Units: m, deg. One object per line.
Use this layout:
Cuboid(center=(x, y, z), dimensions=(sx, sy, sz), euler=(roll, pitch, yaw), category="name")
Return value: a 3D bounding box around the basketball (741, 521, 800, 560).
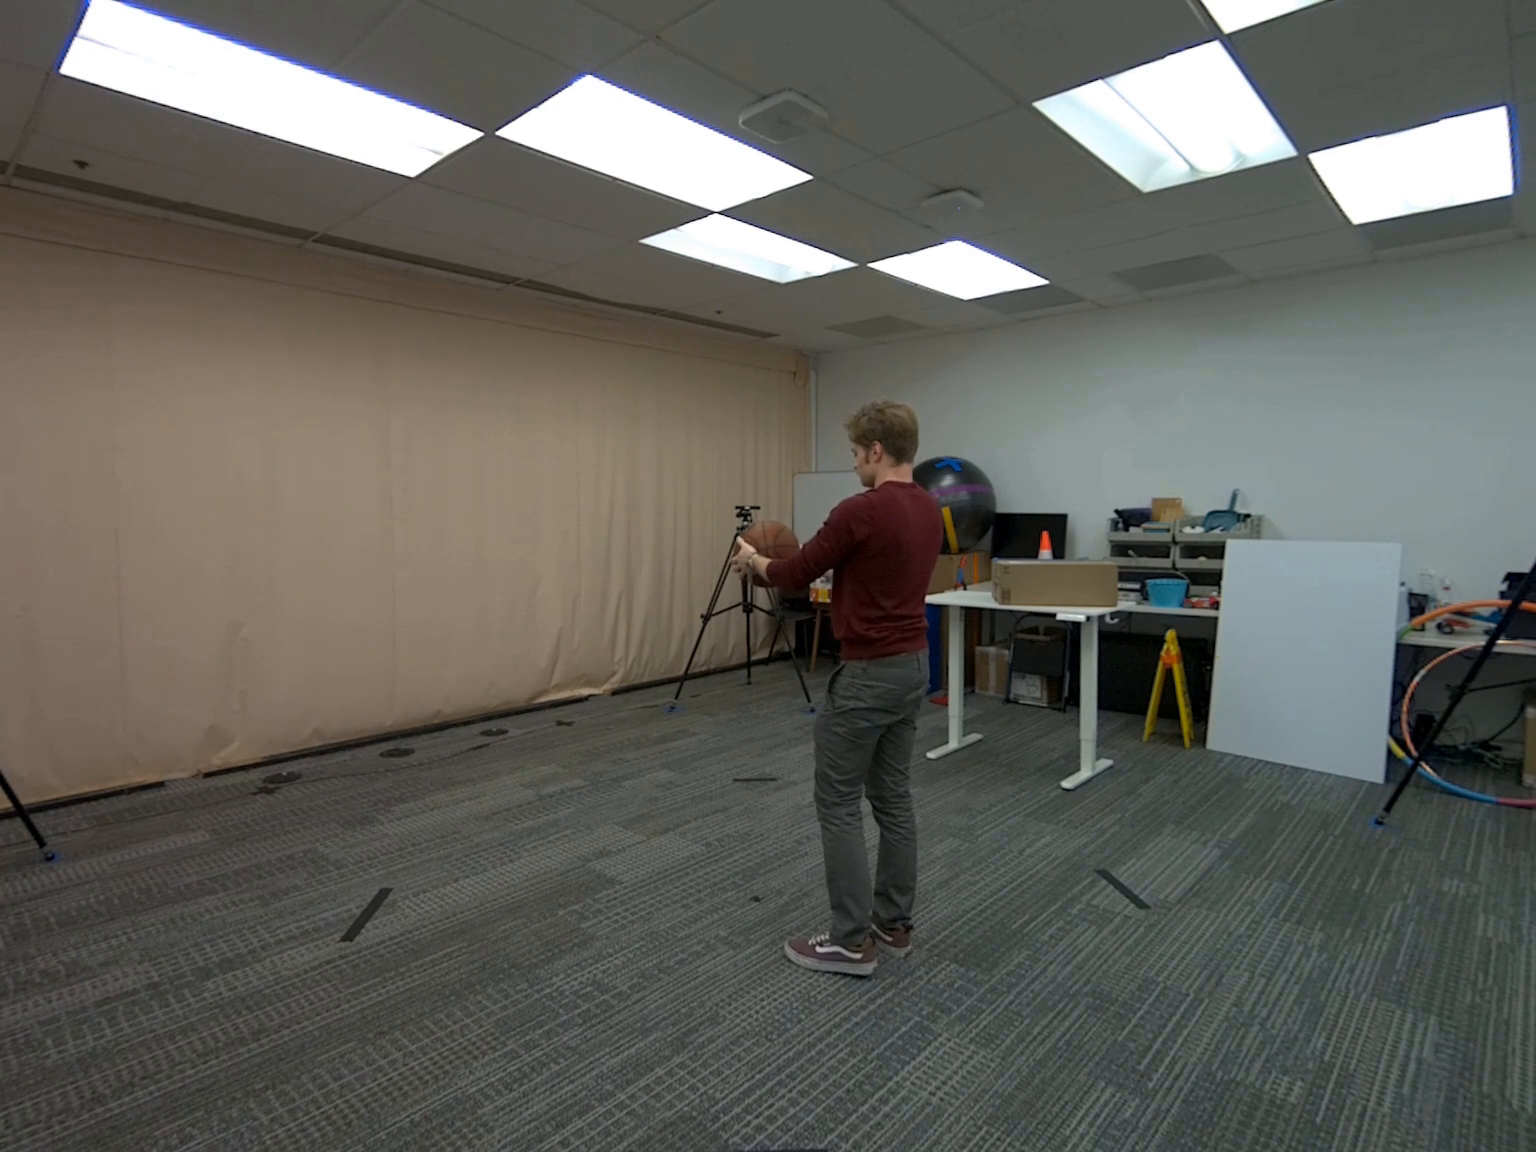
Cuboid(center=(-0.008, -0.095, 2.971), dimensions=(0.236, 0.235, 0.237), euler=(0, 4, -2), category="basketball")
